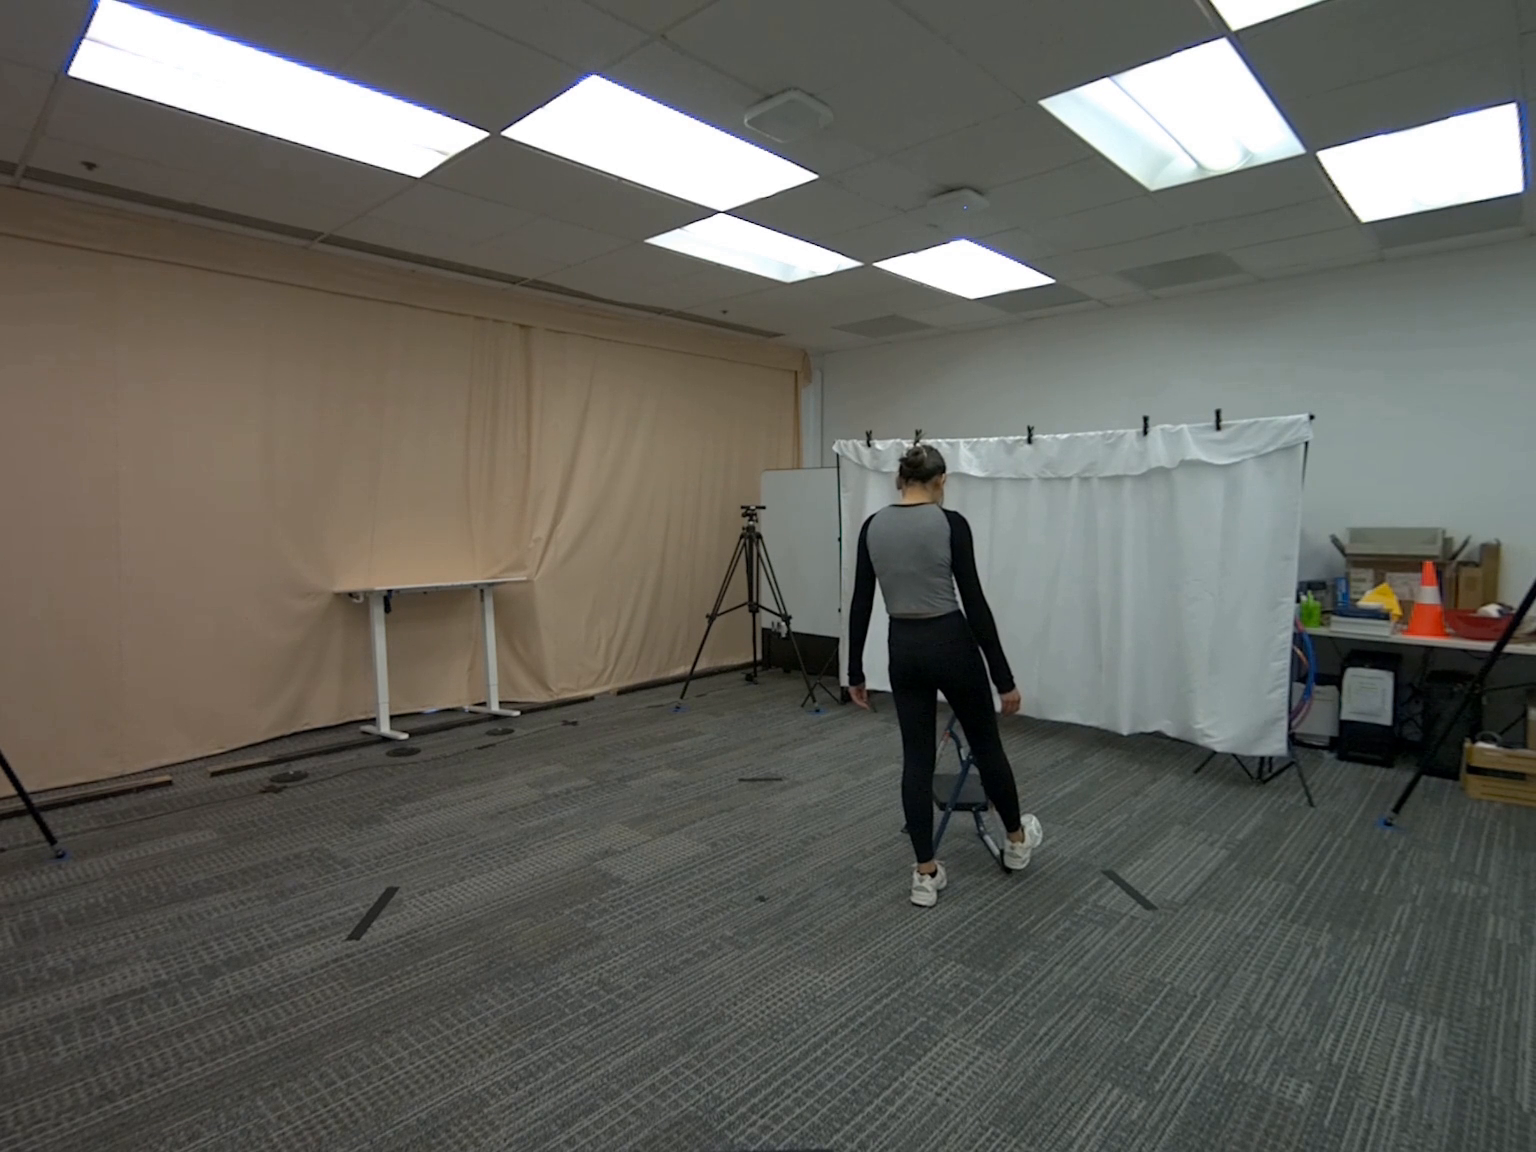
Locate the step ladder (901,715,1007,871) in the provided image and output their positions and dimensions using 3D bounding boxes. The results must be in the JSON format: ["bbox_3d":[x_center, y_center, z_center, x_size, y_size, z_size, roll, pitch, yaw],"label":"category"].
[{"bbox_3d":[0.757,0.806,3.383,0.350,0.605,0.431,0,4,0],"label":"step ladder"}]
